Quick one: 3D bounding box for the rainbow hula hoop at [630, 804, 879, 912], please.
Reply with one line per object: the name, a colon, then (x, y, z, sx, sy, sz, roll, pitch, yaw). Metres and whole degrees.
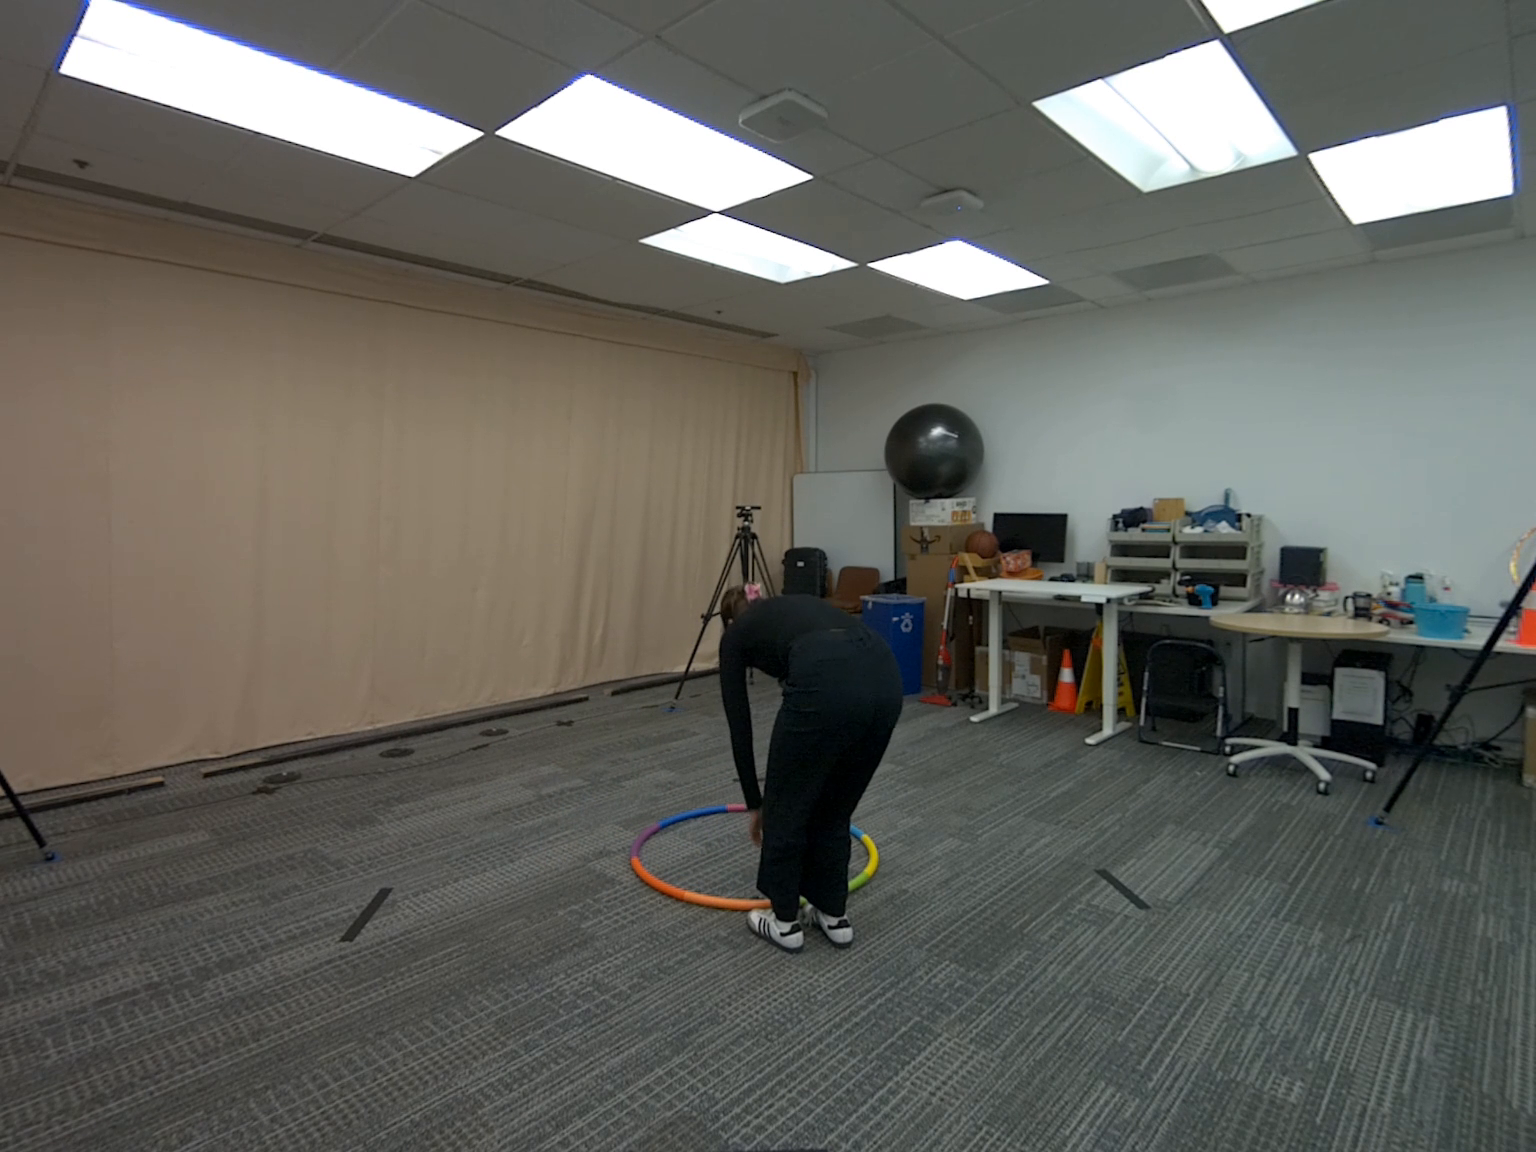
rainbow hula hoop: (-0.055, 1.081, 3.373, 0.978, 0.035, 0.982, -1, 5, -2)
